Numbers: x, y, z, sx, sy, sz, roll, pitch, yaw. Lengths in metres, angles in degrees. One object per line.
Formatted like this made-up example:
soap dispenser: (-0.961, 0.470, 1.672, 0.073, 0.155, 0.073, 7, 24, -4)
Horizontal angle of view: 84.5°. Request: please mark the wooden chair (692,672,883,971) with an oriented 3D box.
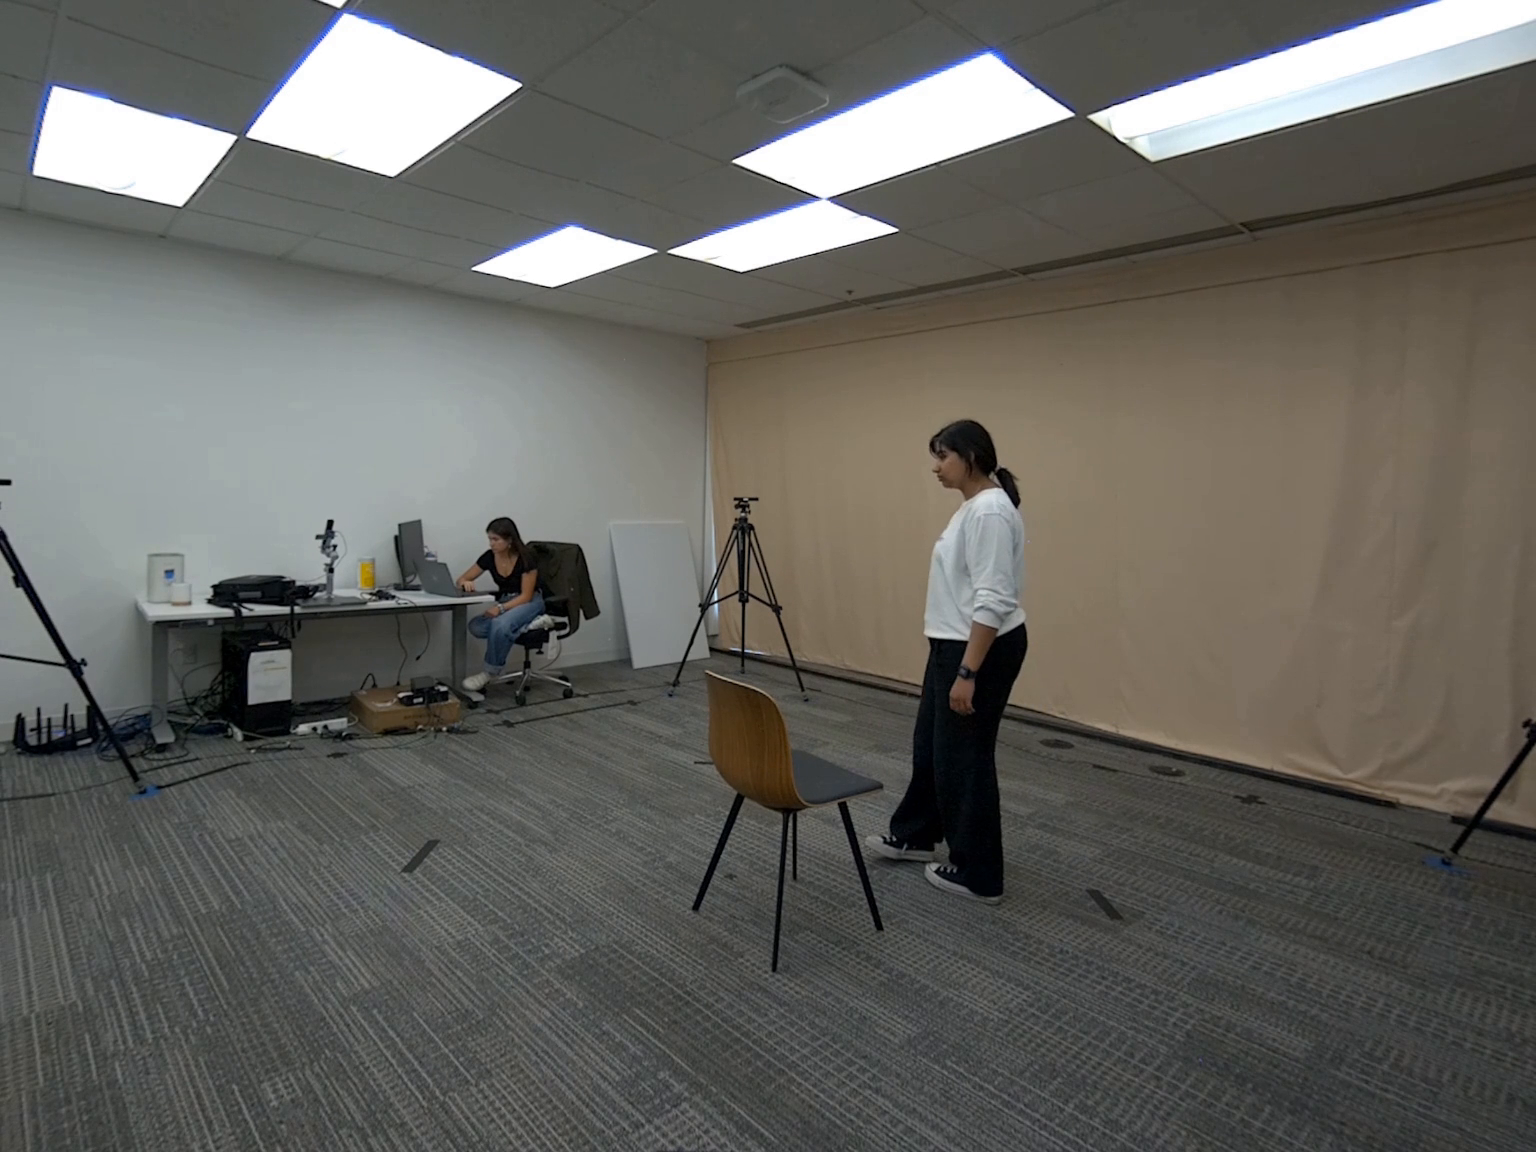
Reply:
wooden chair: (0.068, 0.717, 2.759, 0.512, 0.873, 0.490, -7, 7, -37)
